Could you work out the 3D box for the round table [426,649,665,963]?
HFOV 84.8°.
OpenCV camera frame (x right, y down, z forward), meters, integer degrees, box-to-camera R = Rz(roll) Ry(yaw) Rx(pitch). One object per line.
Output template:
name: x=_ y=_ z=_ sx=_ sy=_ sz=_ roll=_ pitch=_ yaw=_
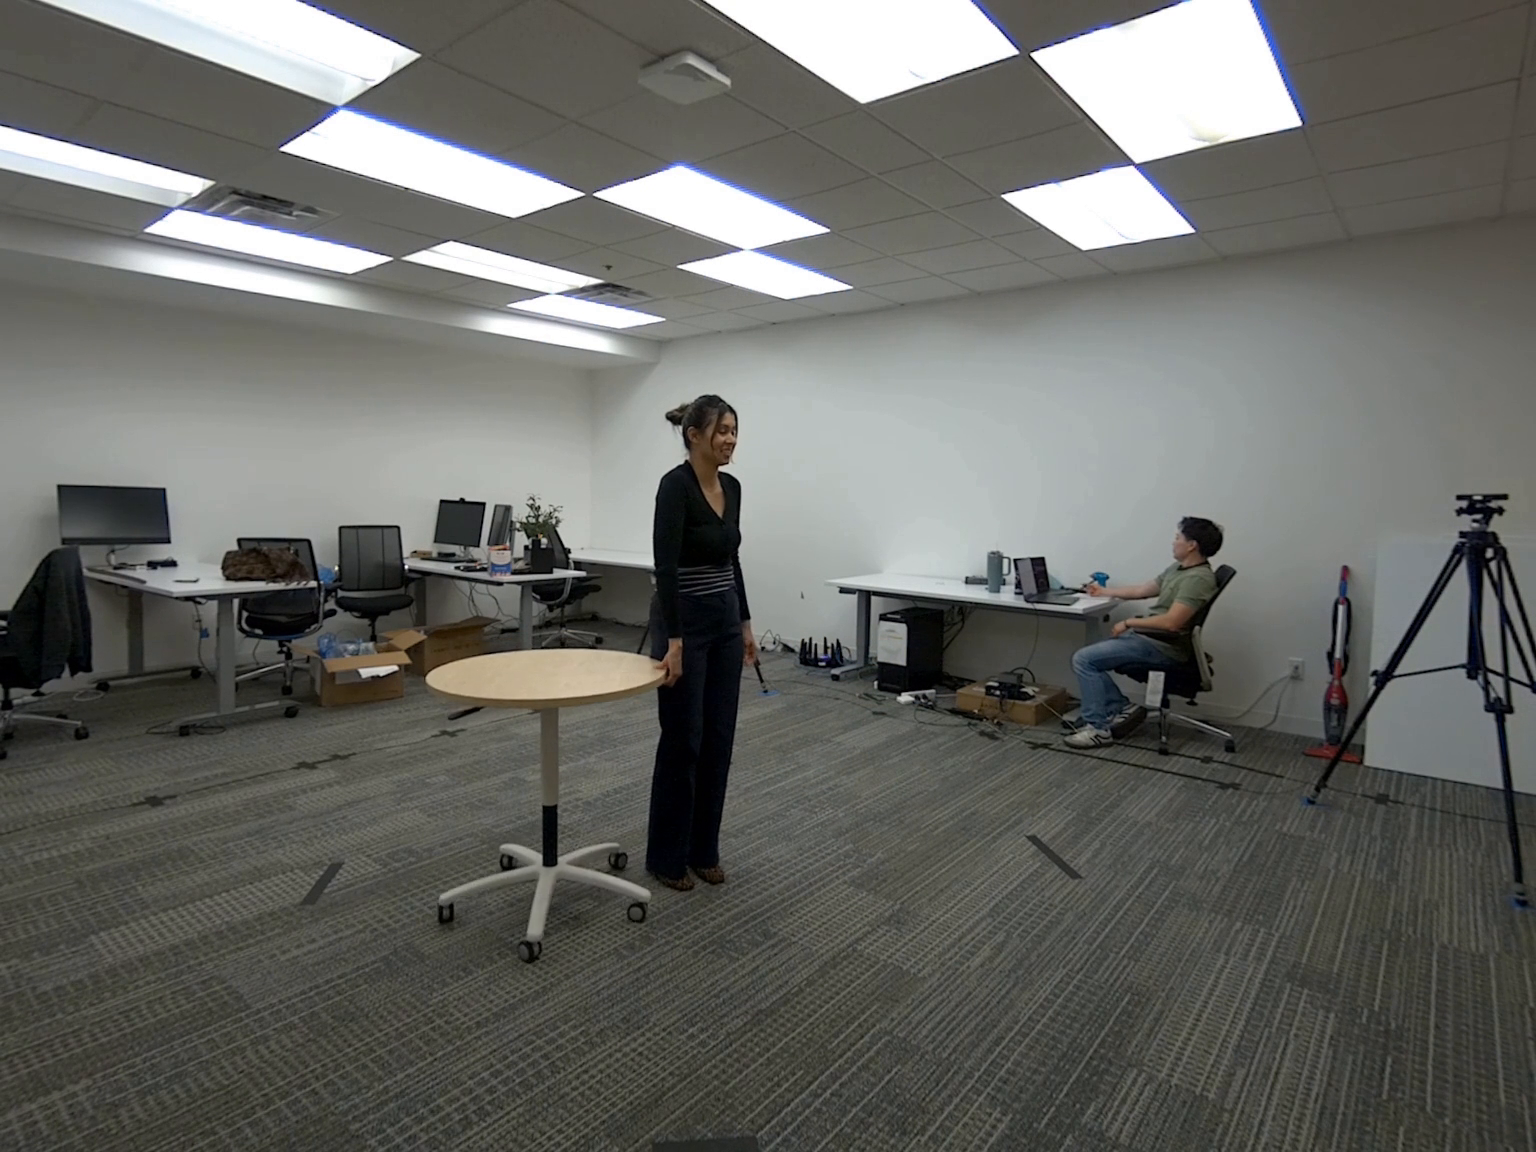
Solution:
round table: x=-0.725 y=0.702 z=2.790 sx=0.763 sy=0.791 sz=0.768 roll=0 pitch=4 yaw=-2
